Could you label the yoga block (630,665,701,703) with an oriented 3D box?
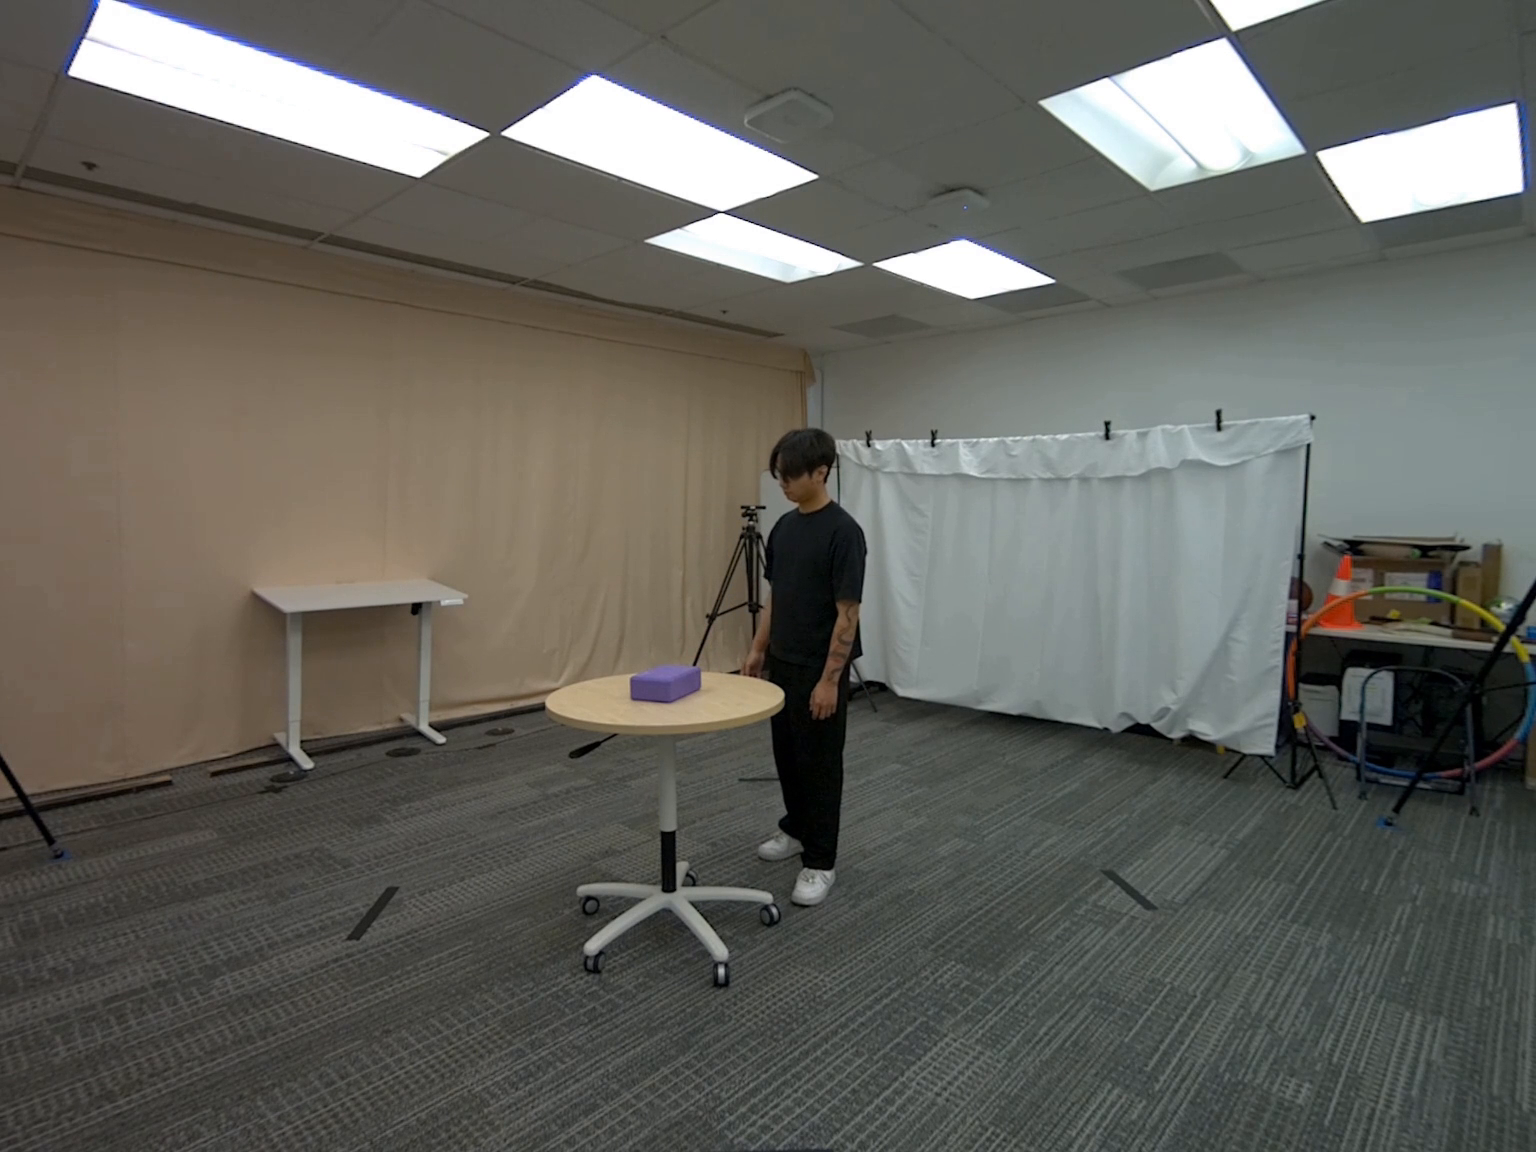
[{"bbox_3d":[-0.332,0.346,2.717,0.152,0.076,0.225,1,5,20],"label":"yoga block"}]
